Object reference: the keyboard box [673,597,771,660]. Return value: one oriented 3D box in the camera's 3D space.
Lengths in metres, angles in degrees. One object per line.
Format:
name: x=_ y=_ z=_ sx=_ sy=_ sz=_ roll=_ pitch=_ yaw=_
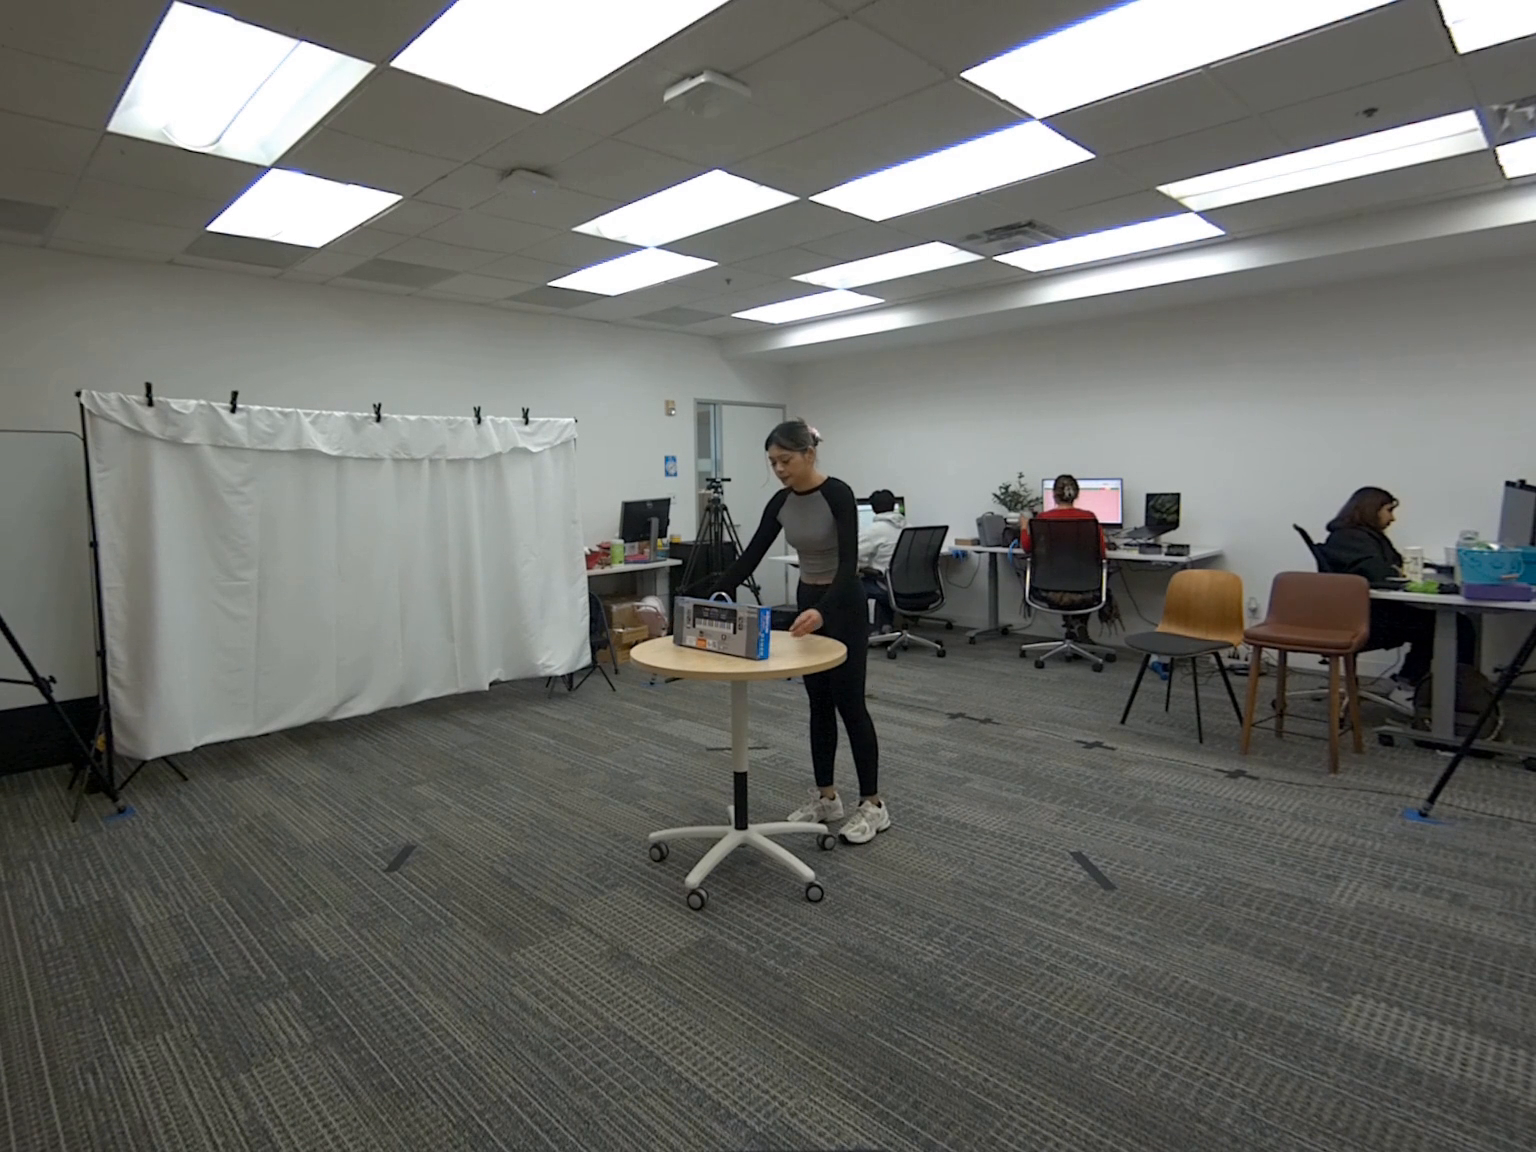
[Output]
keyboard box: x=-0.168 y=0.178 z=2.987 sx=0.057 sy=0.176 sz=0.450 roll=4 pitch=0 yaw=-44
